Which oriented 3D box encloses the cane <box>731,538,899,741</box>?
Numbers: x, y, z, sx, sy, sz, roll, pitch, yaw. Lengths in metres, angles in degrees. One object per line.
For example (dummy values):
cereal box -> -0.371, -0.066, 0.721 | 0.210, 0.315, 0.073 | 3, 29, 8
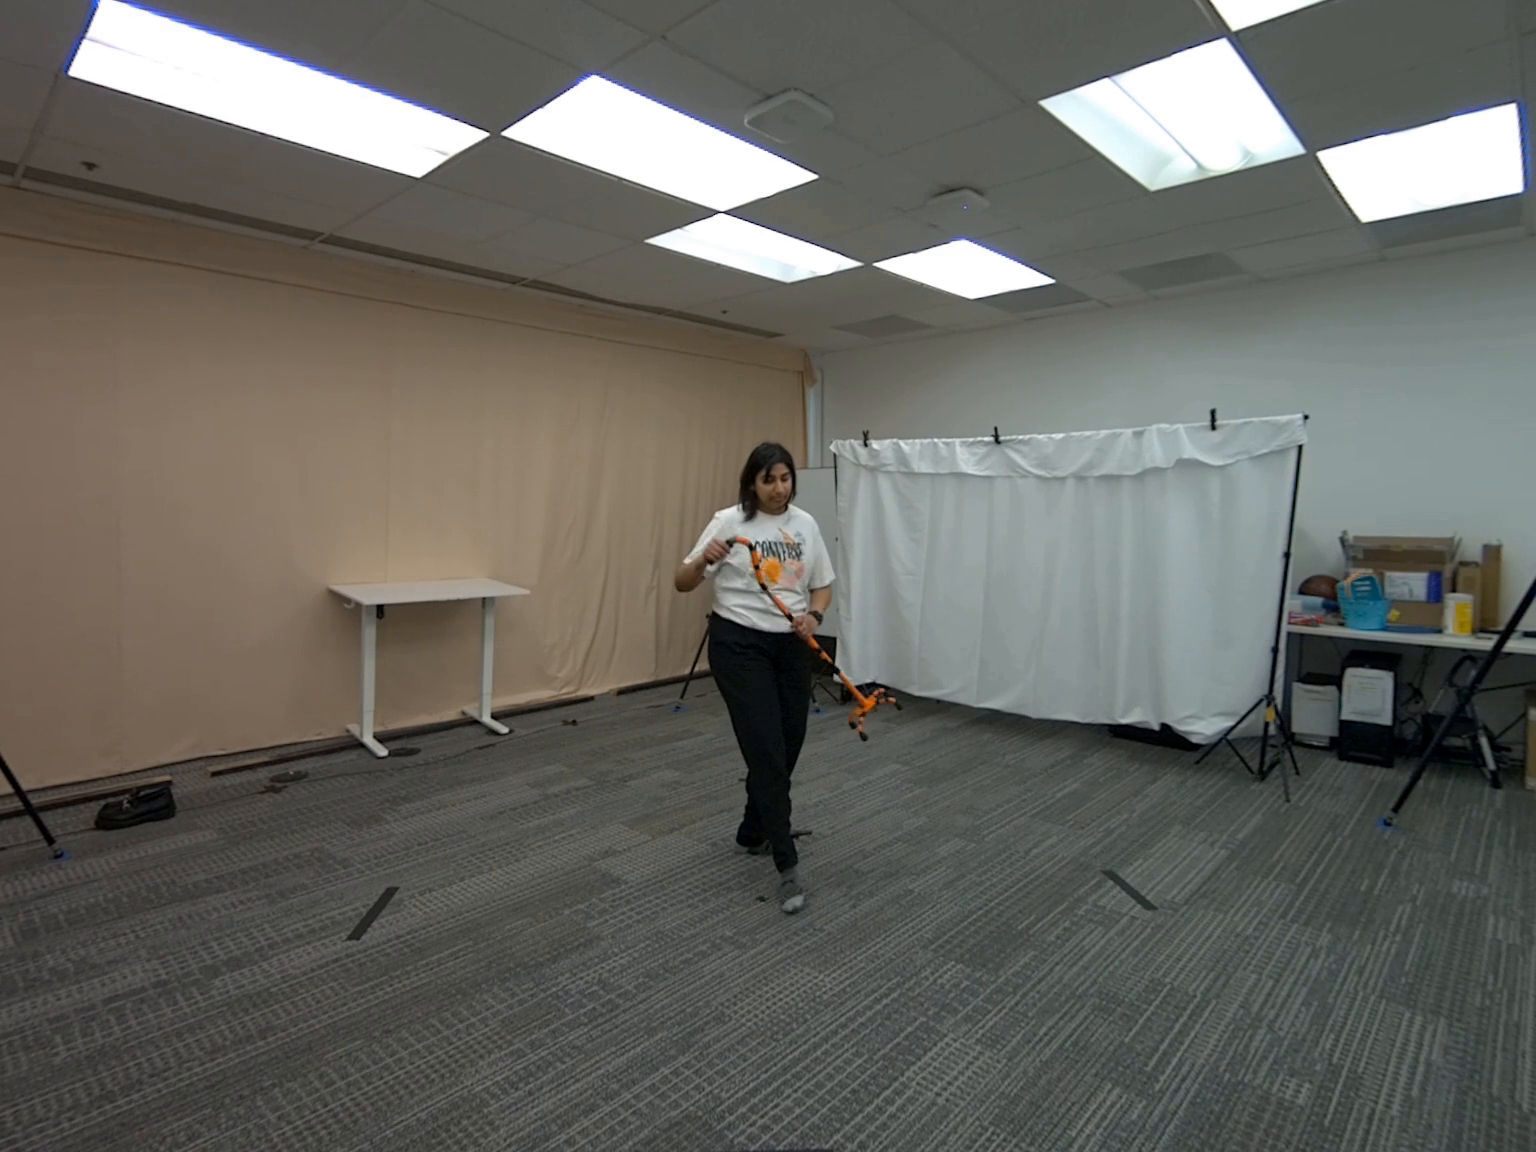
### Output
cane -> 0.141, 0.210, 3.087 | 0.206, 0.890, 0.154 | -41, 17, 0
